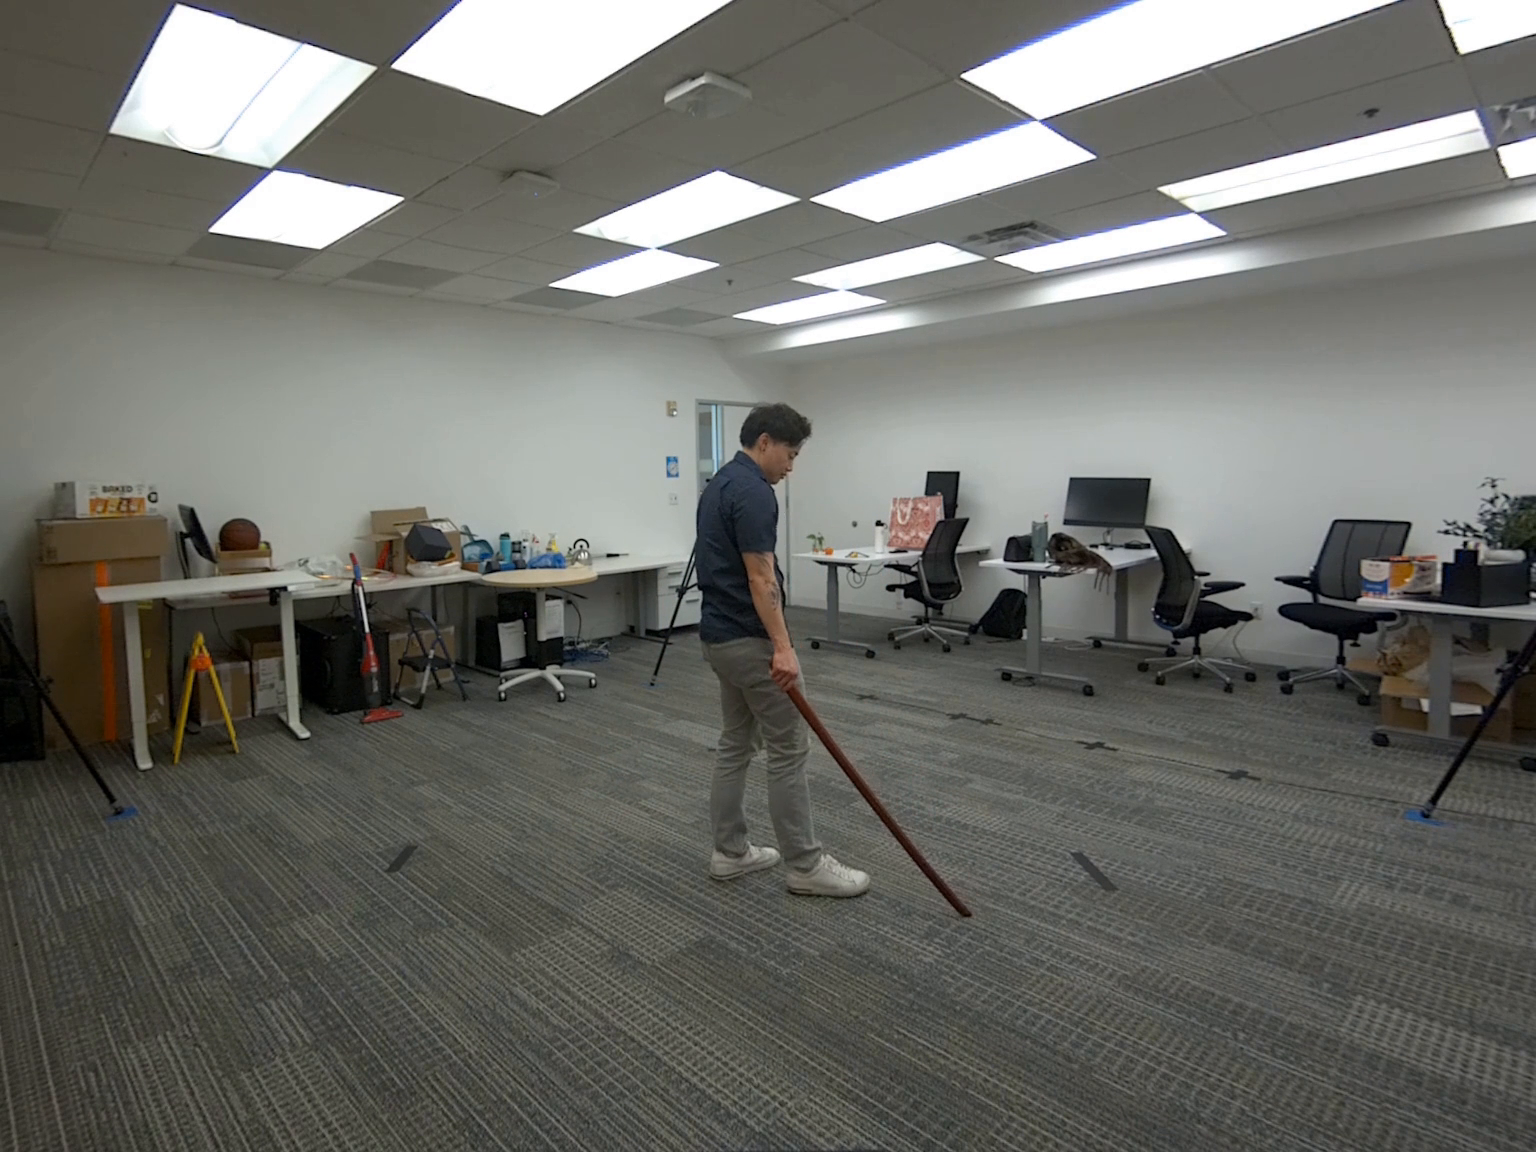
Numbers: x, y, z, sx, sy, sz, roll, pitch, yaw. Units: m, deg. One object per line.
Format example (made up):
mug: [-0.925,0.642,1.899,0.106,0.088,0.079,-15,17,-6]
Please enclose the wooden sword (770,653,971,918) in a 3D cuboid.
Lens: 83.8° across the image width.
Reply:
wooden sword: [0.323,0.686,2.710,0.051,1.024,0.024,-39,1,19]
